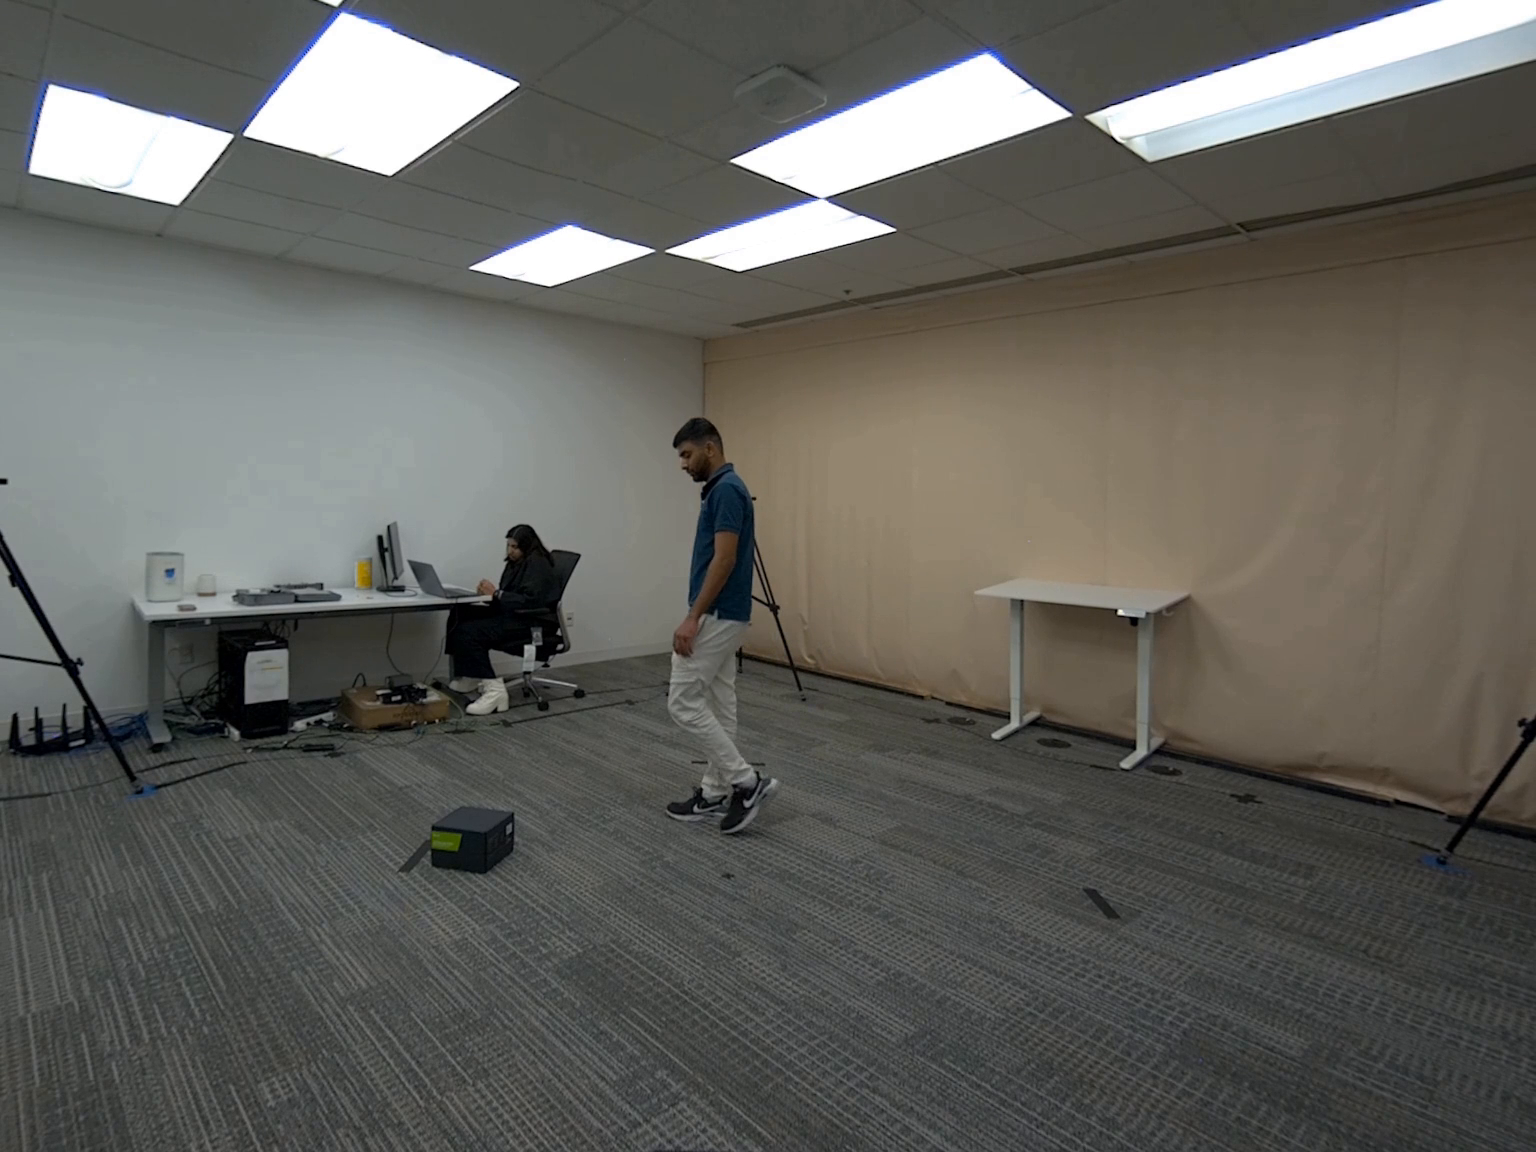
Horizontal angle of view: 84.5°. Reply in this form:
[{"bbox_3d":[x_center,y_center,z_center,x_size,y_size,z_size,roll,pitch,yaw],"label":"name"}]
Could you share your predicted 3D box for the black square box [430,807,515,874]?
[{"bbox_3d":[-1.128,0.993,3.194,0.230,0.155,0.215,3,5,12],"label":"black square box"}]
